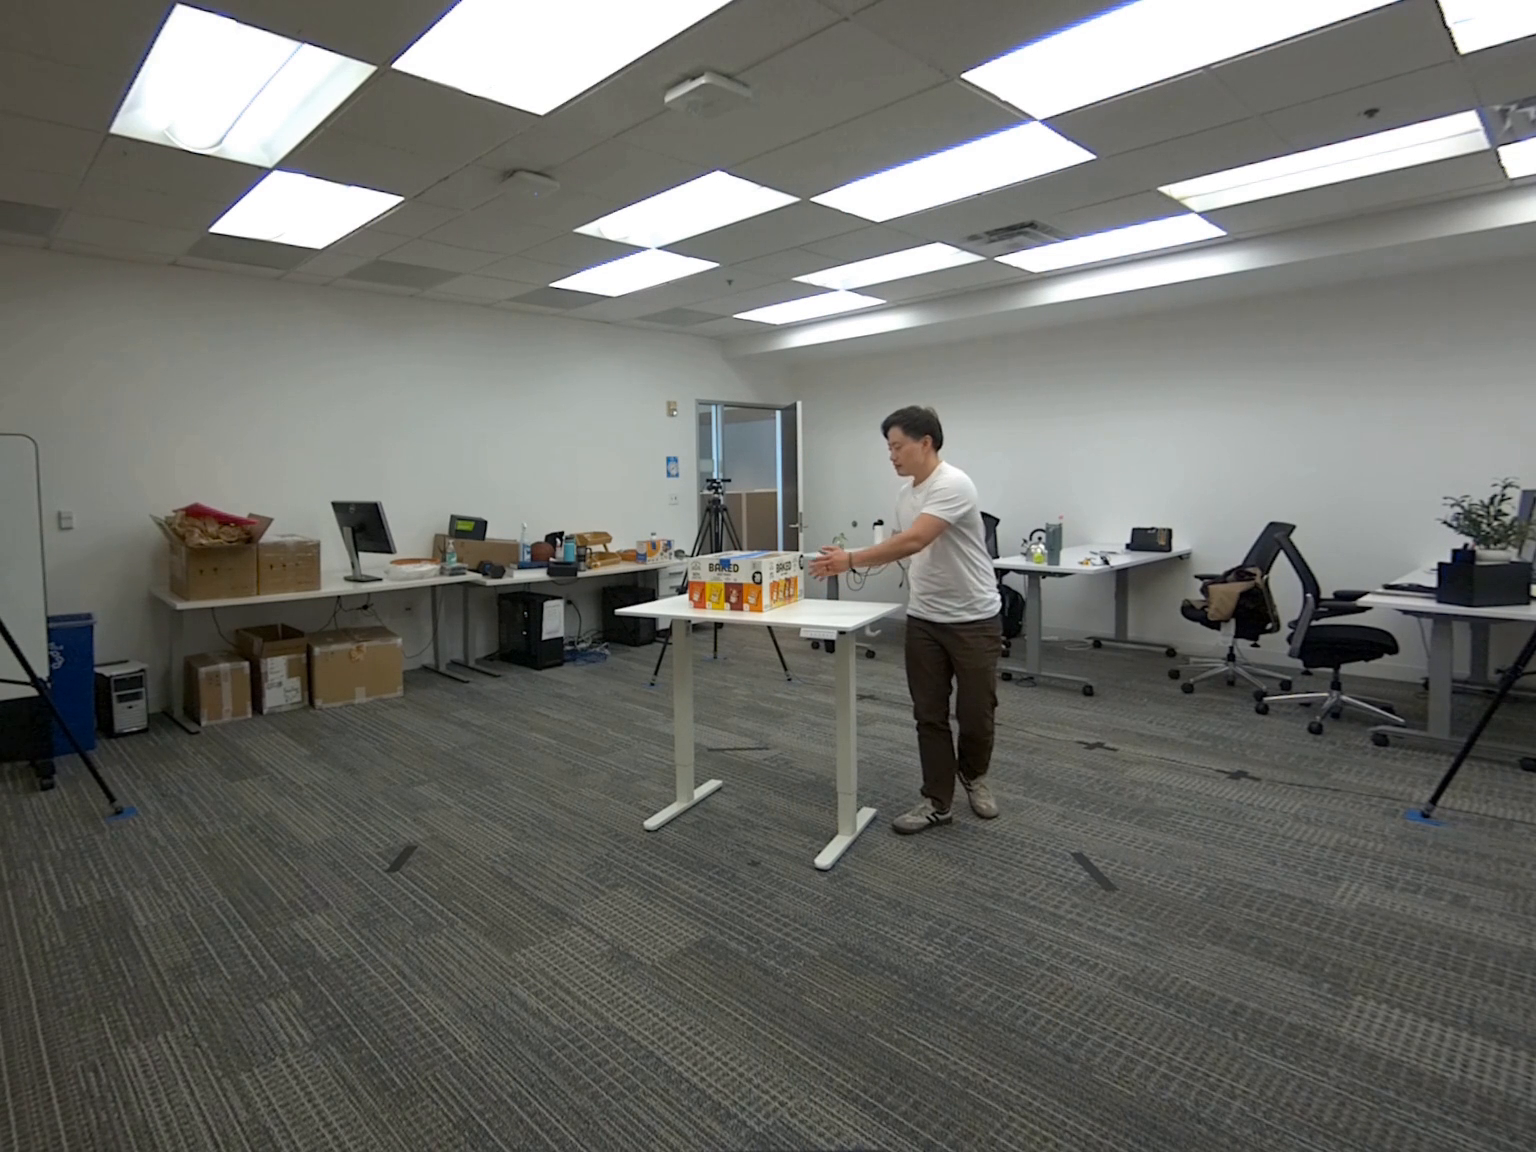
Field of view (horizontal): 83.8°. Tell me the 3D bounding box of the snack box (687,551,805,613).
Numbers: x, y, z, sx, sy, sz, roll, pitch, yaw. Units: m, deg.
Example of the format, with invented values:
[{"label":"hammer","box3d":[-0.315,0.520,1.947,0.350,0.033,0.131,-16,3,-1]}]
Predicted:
[{"label":"snack box","box3d":[-0.087,0.014,3.545,0.349,0.205,0.397,2,6,27]}]
